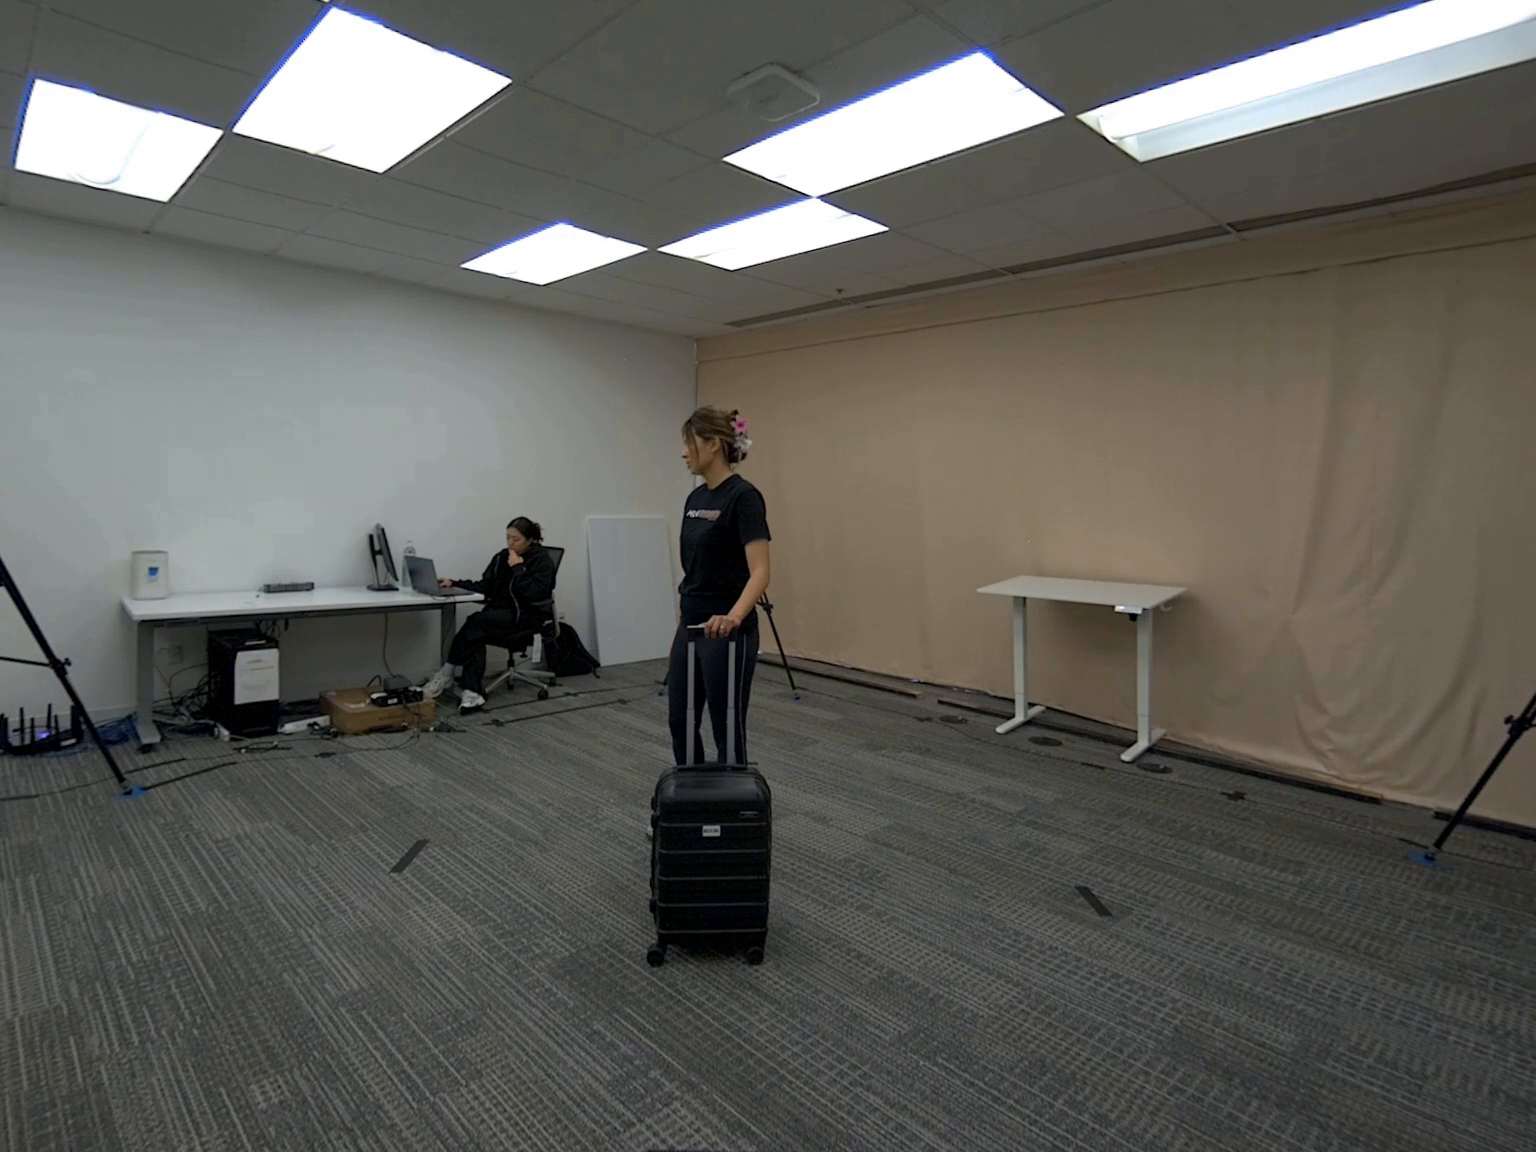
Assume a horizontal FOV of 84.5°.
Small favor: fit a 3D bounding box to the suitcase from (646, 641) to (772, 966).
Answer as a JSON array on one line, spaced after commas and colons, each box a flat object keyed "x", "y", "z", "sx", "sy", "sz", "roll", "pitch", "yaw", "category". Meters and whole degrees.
[{"x": -0.175, "y": 0.675, "z": 2.587, "sx": 0.383, "sy": 0.974, "sz": 0.259, "roll": 1, "pitch": 6, "yaw": -4, "category": "suitcase"}]
